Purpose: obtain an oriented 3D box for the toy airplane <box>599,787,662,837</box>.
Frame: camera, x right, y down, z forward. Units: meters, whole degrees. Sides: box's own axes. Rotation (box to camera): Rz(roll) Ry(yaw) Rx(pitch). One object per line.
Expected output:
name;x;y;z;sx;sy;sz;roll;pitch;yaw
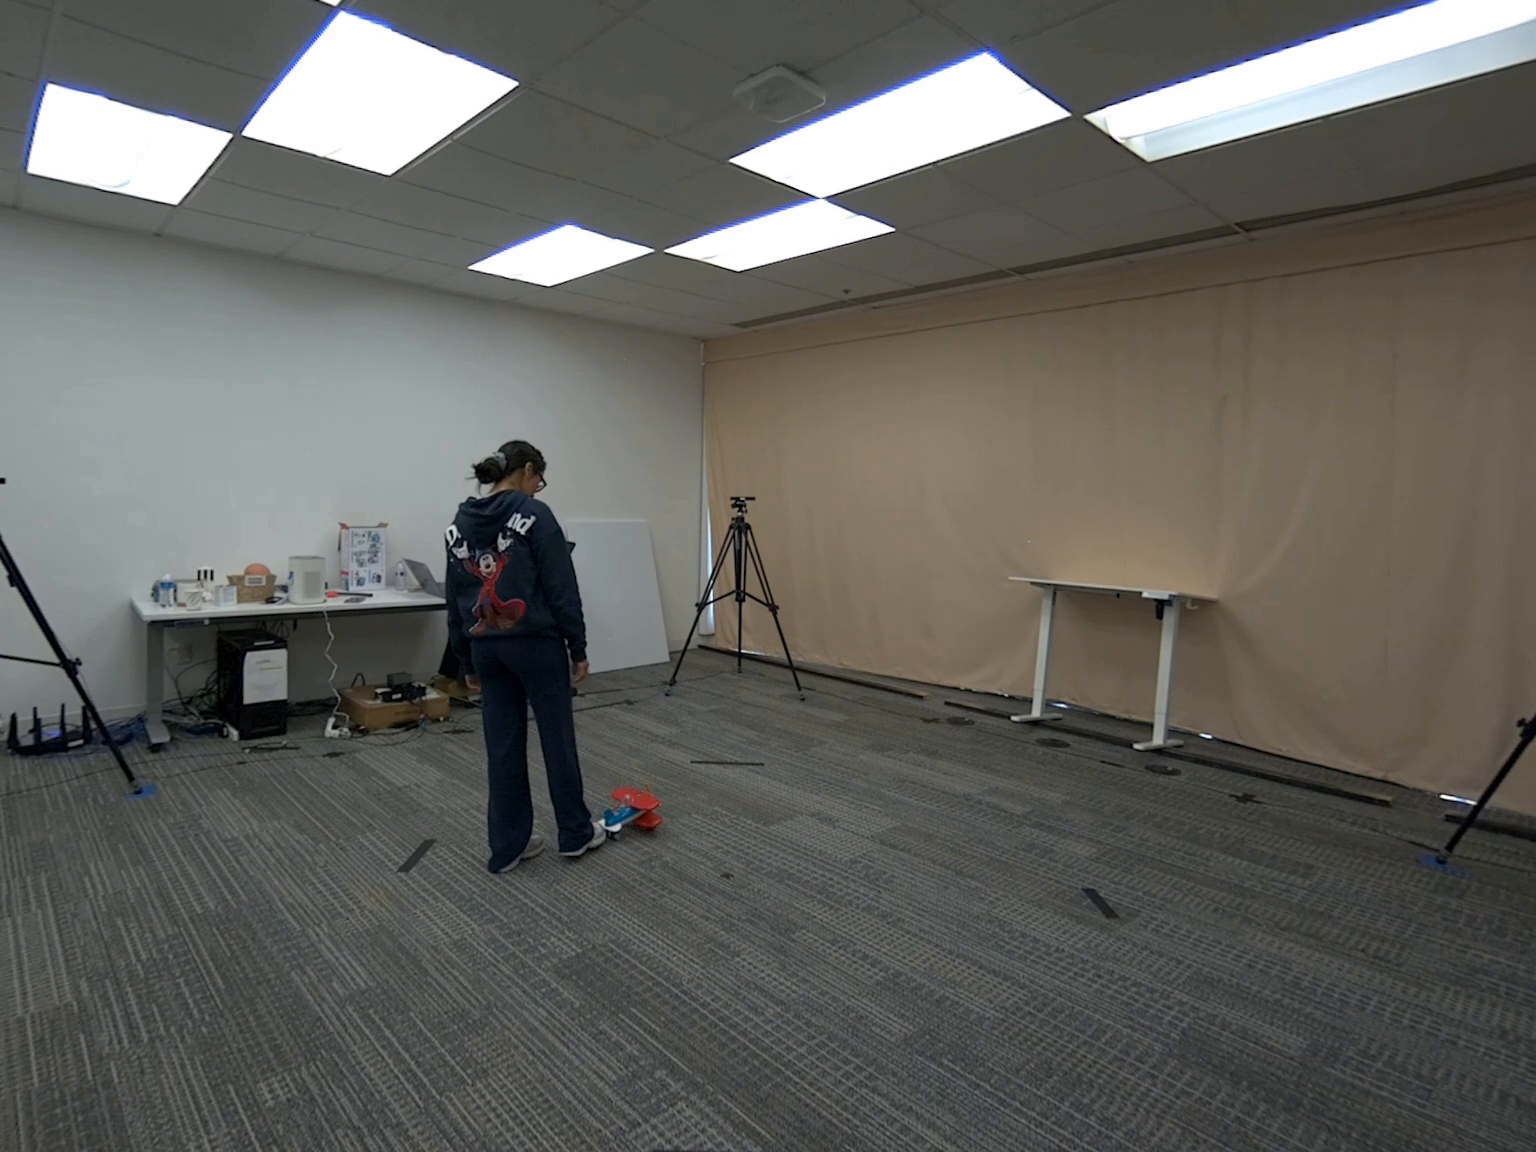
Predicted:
toy airplane;-0.566;0.988;3.468;0.253;0.156;0.257;1;3;11
